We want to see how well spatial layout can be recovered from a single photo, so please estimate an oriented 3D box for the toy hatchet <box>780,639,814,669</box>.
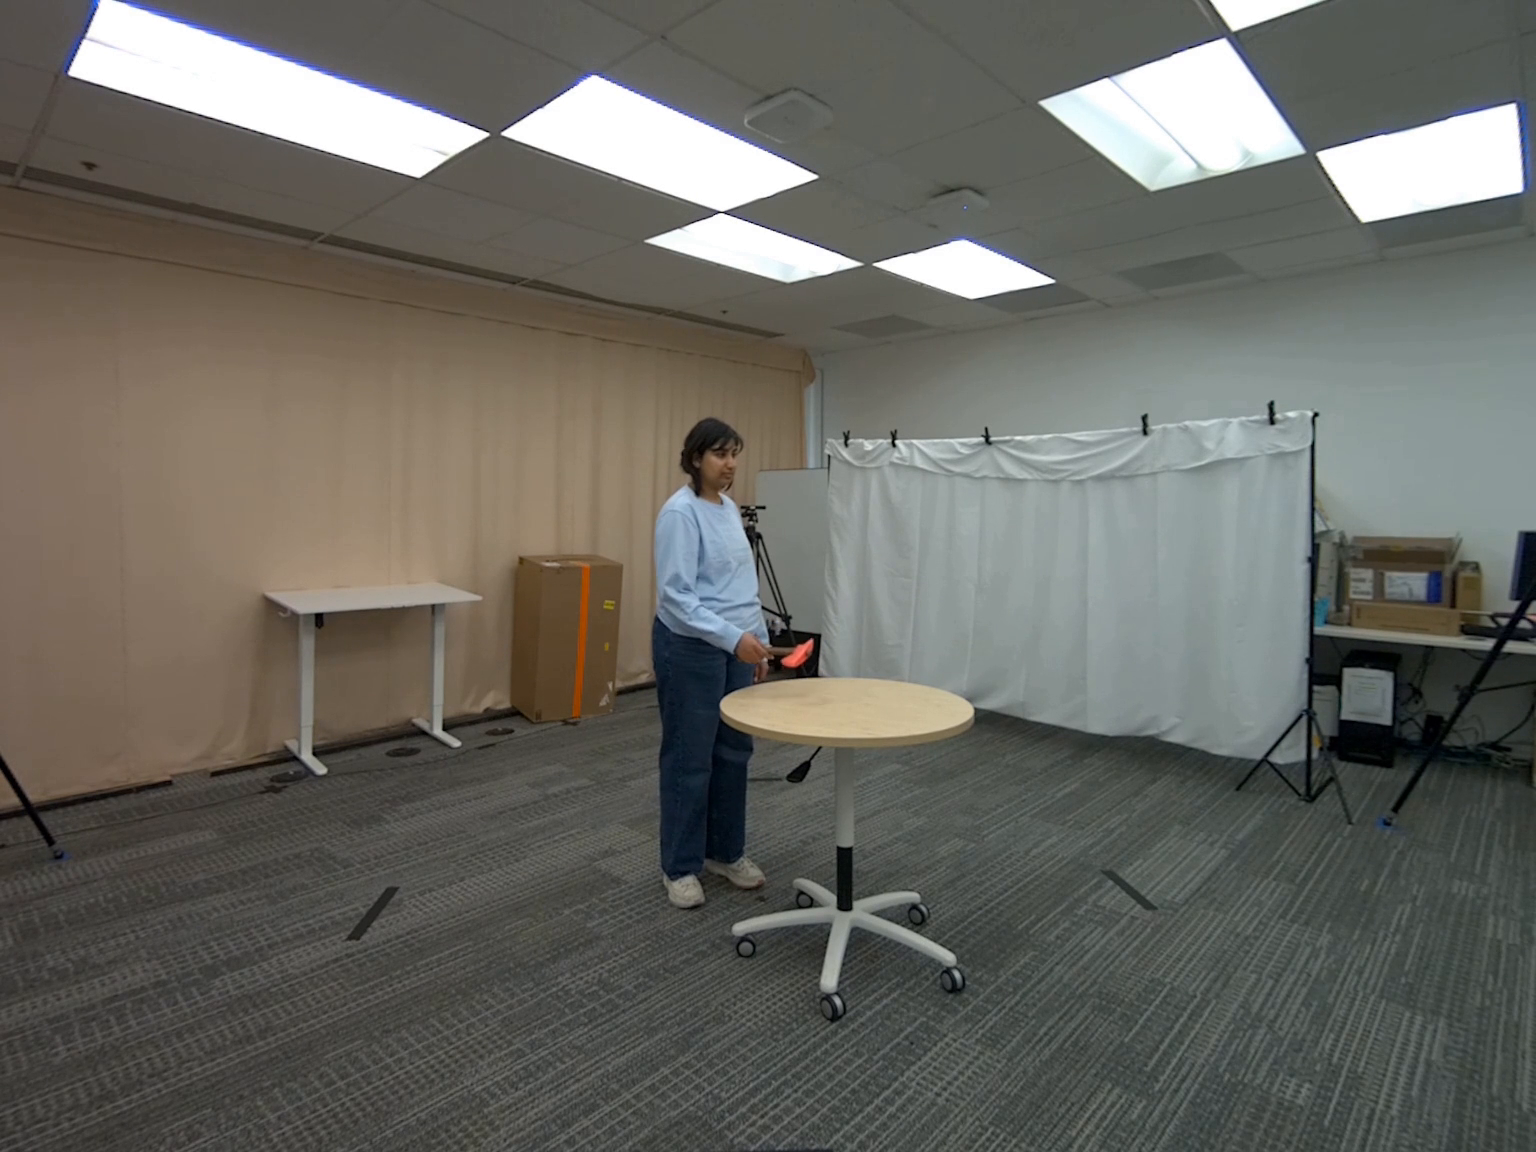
[{"bbox_3d":[0.022,0.263,2.677,0.275,0.029,0.132,-14,30,23],"label":"toy hatchet"}]
